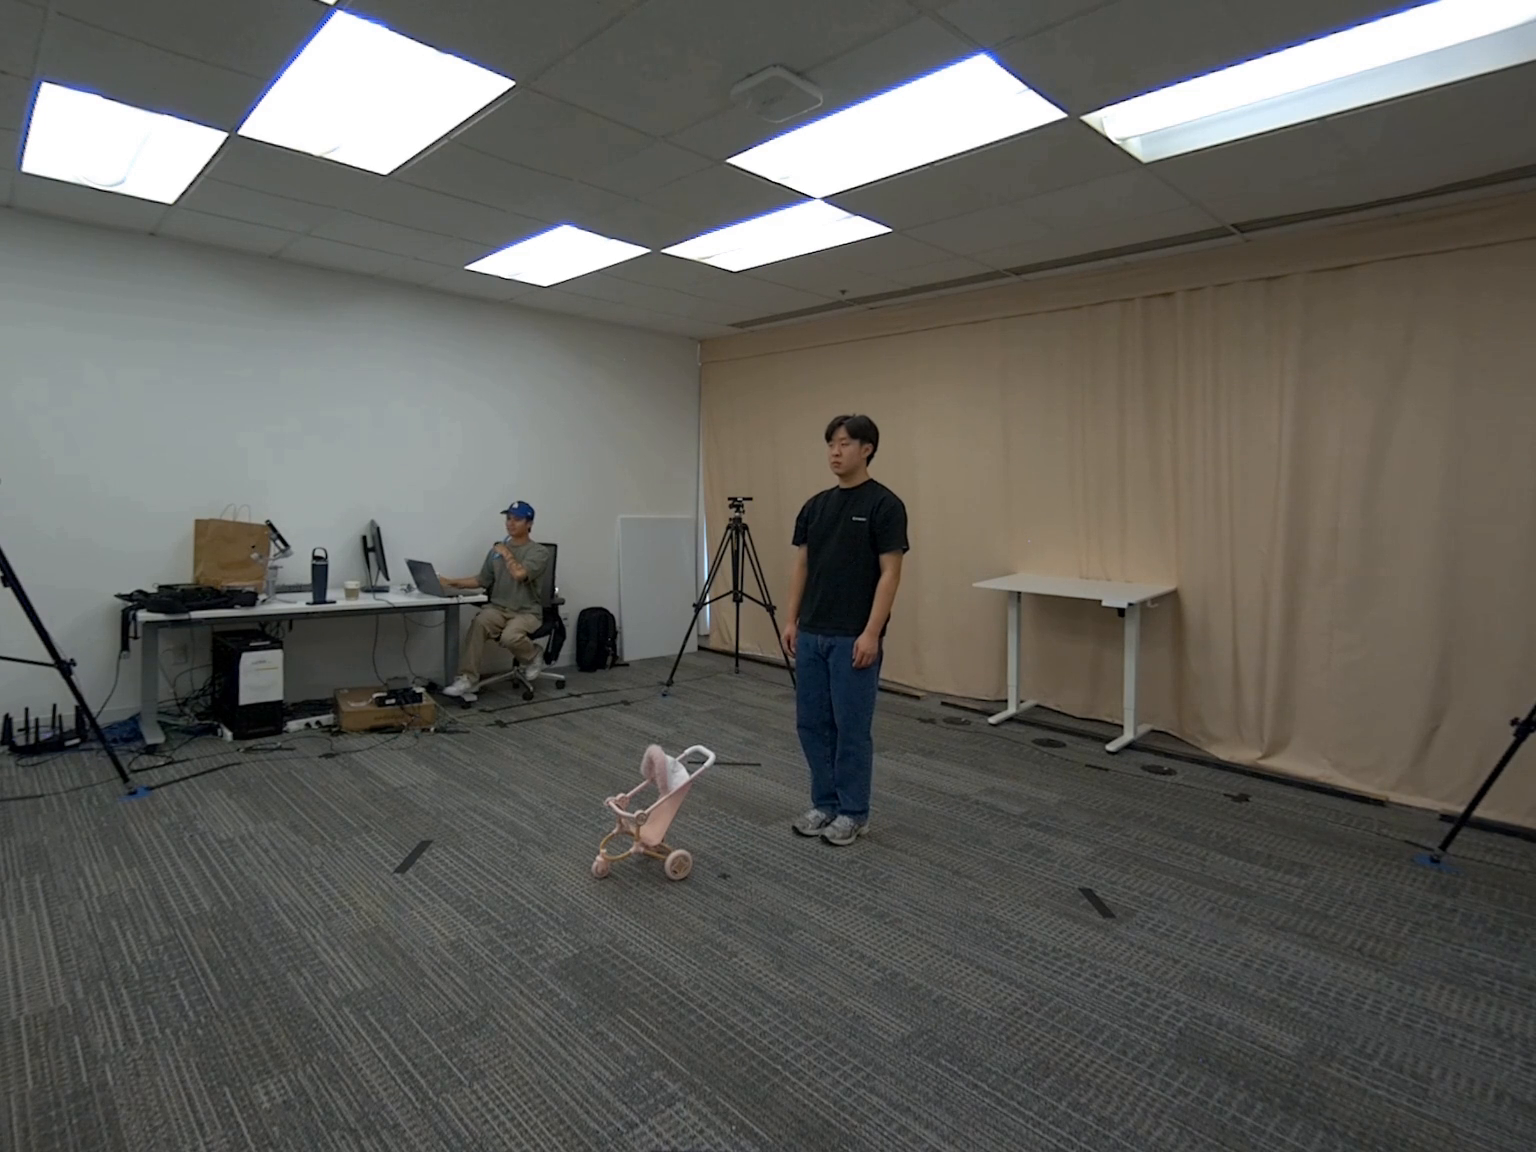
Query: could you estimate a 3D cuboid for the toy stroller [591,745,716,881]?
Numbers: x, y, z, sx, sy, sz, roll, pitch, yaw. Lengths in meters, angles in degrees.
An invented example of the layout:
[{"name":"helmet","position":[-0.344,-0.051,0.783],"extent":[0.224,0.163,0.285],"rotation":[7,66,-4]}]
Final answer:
[{"name":"toy stroller","position":[-0.449,0.875,3.140],"extent":[0.334,0.536,0.287],"rotation":[17,-3,-23]}]
